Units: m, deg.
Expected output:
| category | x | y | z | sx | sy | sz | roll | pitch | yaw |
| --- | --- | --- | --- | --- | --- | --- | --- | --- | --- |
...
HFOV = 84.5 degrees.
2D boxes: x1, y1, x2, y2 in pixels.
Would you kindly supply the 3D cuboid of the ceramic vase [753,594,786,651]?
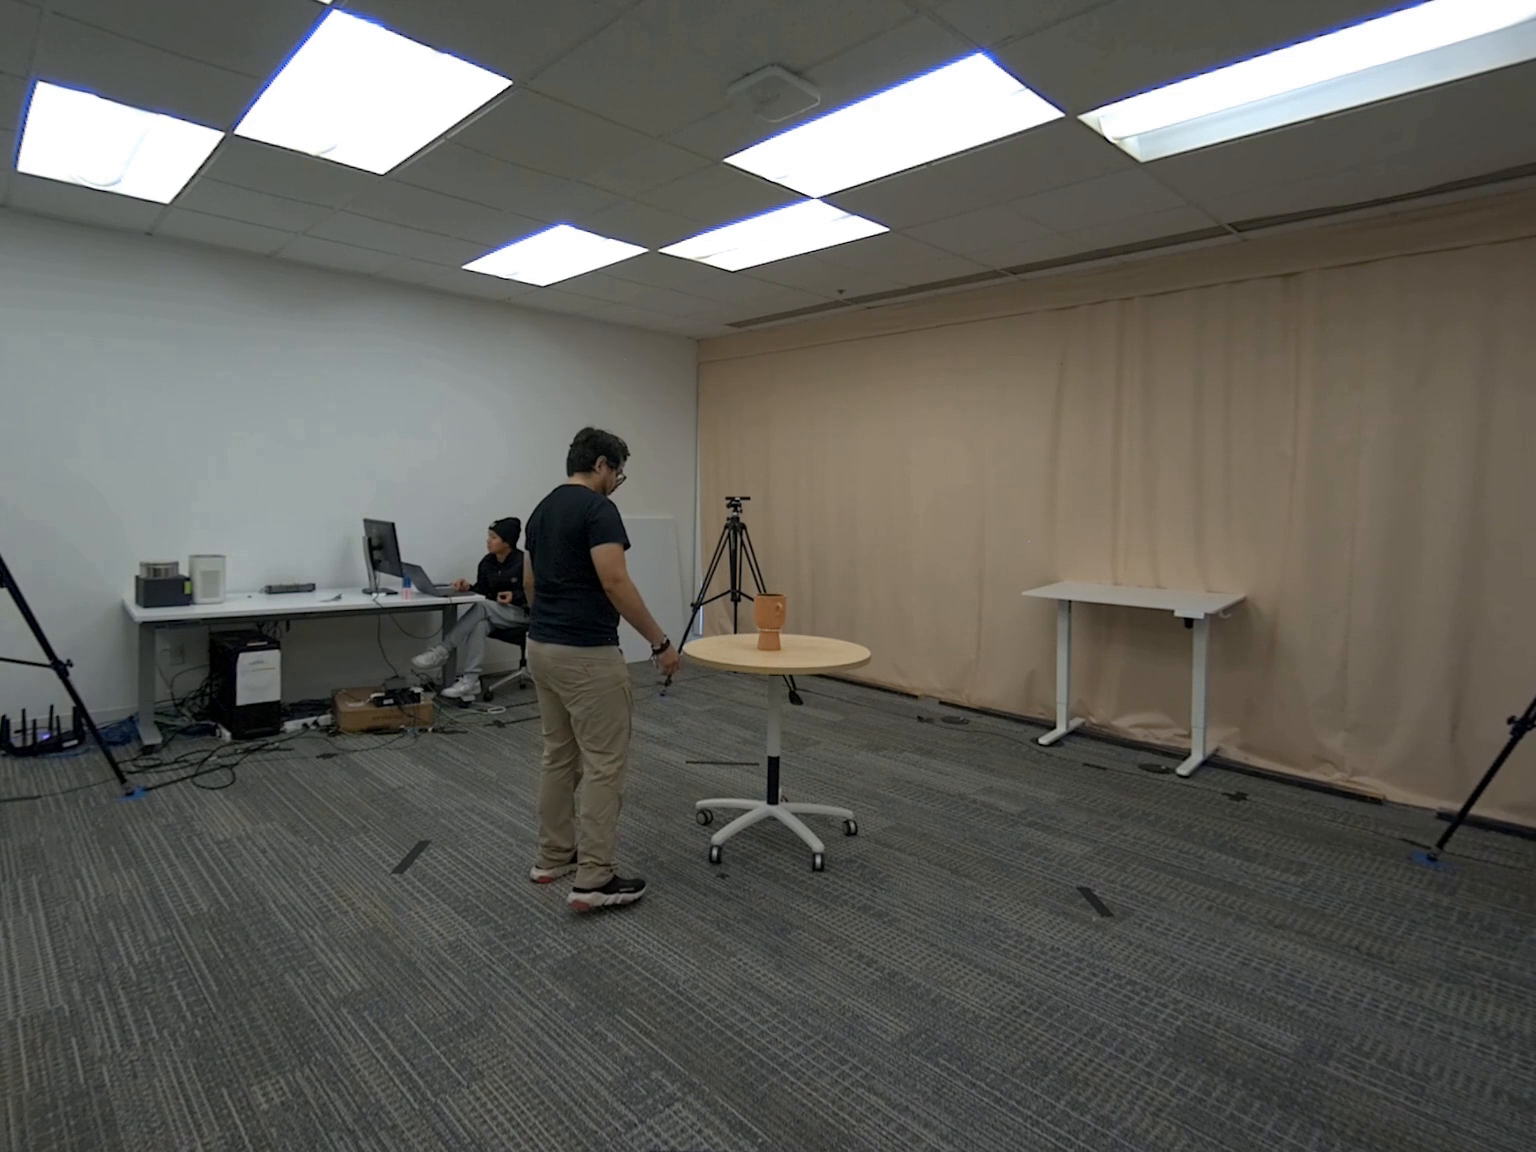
| category | x | y | z | sx | sy | sz | roll | pitch | yaw |
| --- | --- | --- | --- | --- | --- | --- | --- | --- | --- |
| ceramic vase | 0.003 | 0.190 | 3.444 | 0.136 | 0.219 | 0.157 | 1 | 3 | 11 |
